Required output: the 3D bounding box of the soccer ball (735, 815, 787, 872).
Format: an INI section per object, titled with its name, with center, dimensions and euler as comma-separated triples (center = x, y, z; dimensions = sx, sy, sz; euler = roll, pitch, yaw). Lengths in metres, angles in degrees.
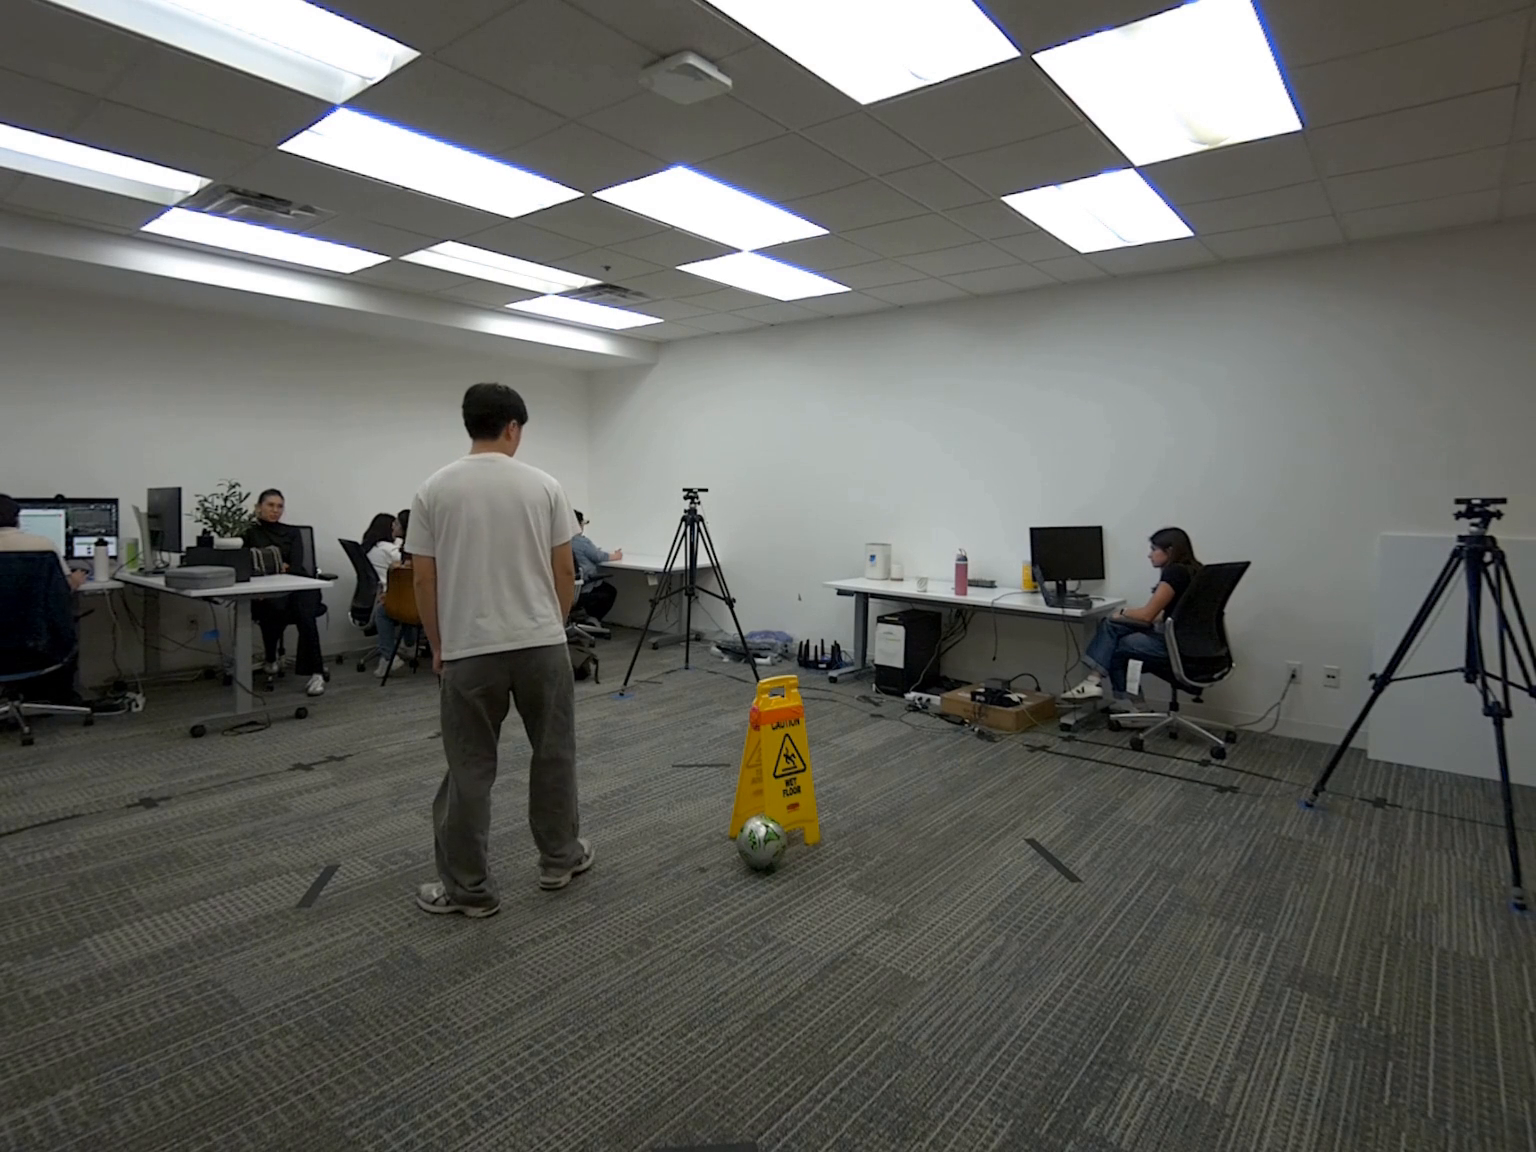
[soccer ball]
center = -0.027, 0.980, 3.131
dimensions = 0.187, 0.187, 0.188
euler = 1, 4, -2
